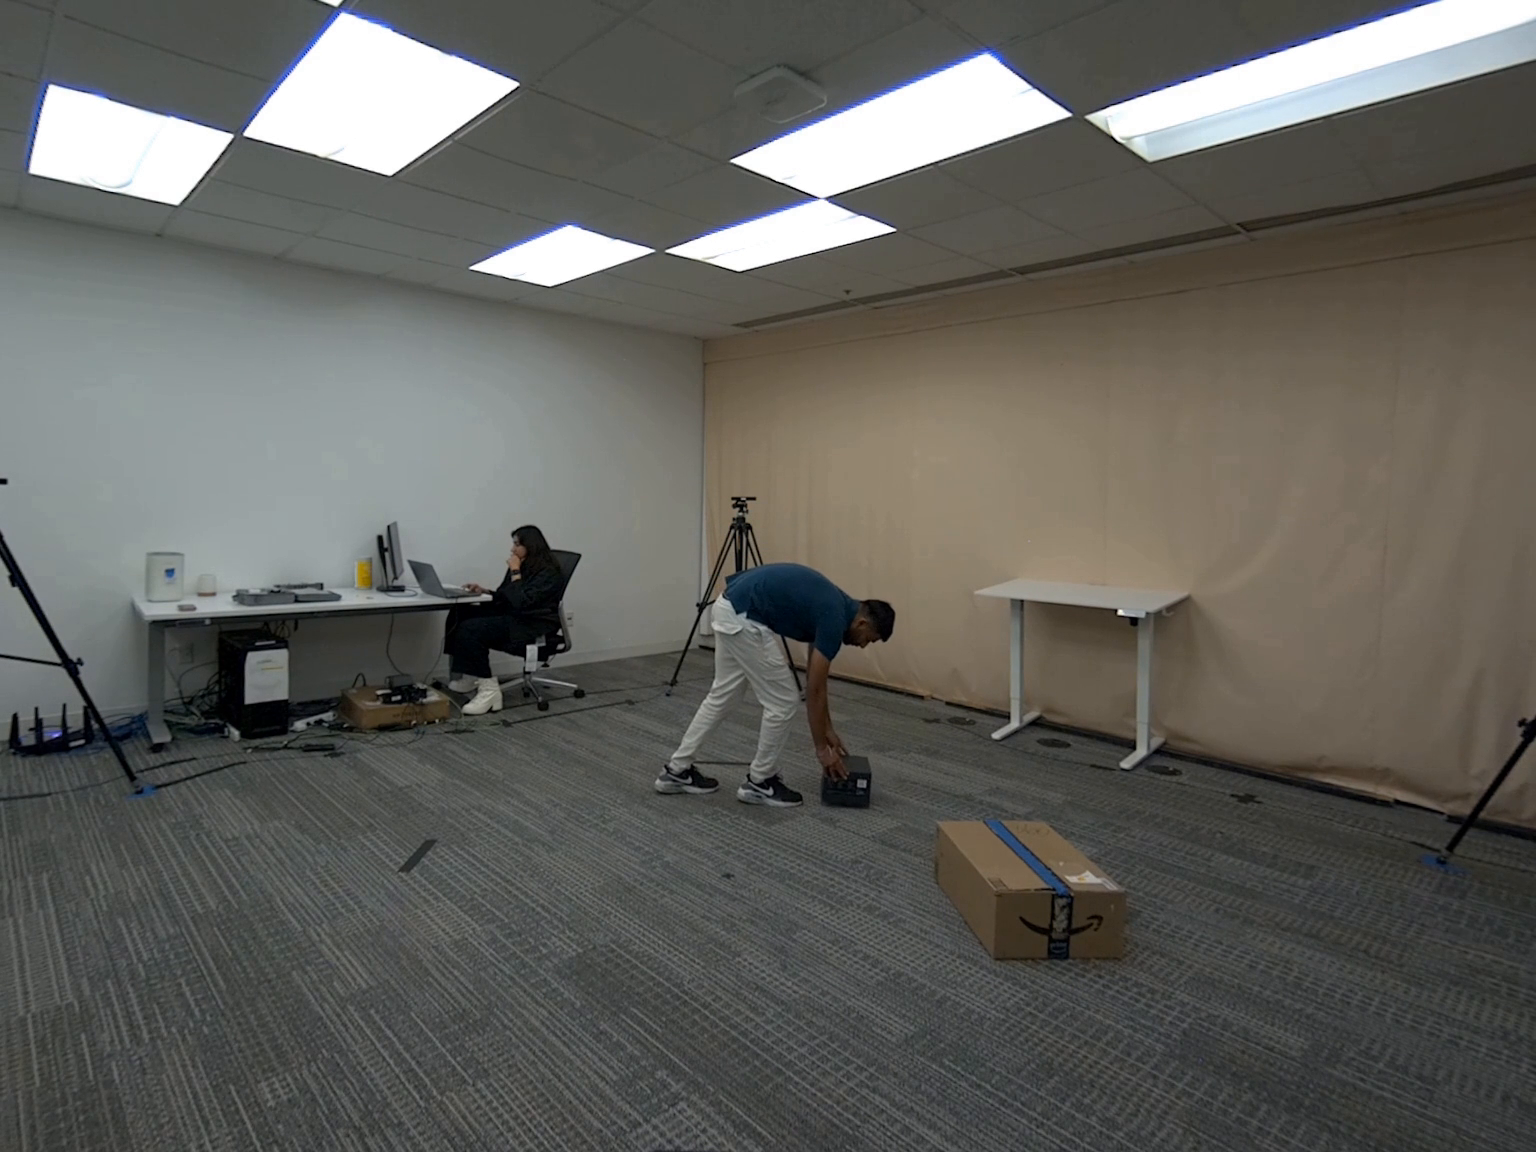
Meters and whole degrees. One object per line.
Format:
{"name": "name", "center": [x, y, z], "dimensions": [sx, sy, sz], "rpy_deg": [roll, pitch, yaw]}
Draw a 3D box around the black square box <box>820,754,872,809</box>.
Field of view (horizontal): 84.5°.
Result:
{"name": "black square box", "center": [0.364, 0.938, 3.924], "dimensions": [0.217, 0.155, 0.228], "rpy_deg": [2, 7, 1]}
